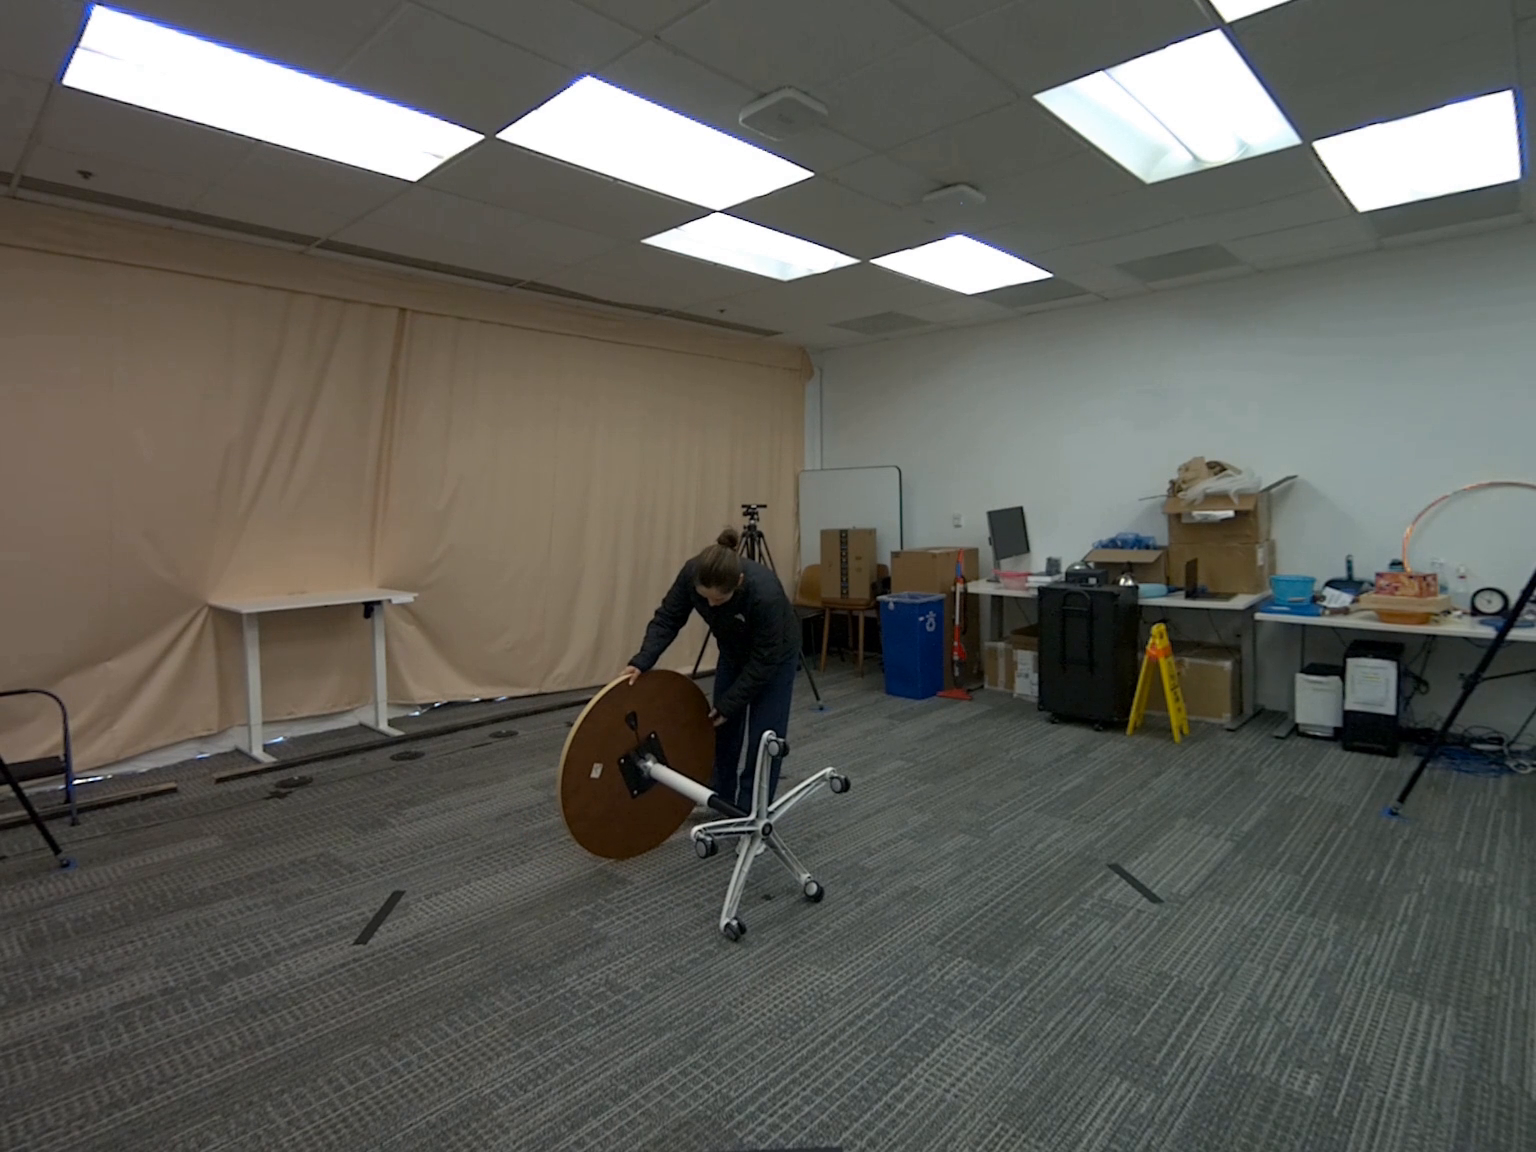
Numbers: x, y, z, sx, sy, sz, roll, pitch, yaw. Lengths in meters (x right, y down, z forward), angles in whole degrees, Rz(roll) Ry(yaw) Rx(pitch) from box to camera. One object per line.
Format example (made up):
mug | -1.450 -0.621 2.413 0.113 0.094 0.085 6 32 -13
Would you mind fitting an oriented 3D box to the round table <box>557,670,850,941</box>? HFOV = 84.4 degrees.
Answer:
round table | -0.204 0.797 3.059 0.814 0.781 0.761 11 11 44
